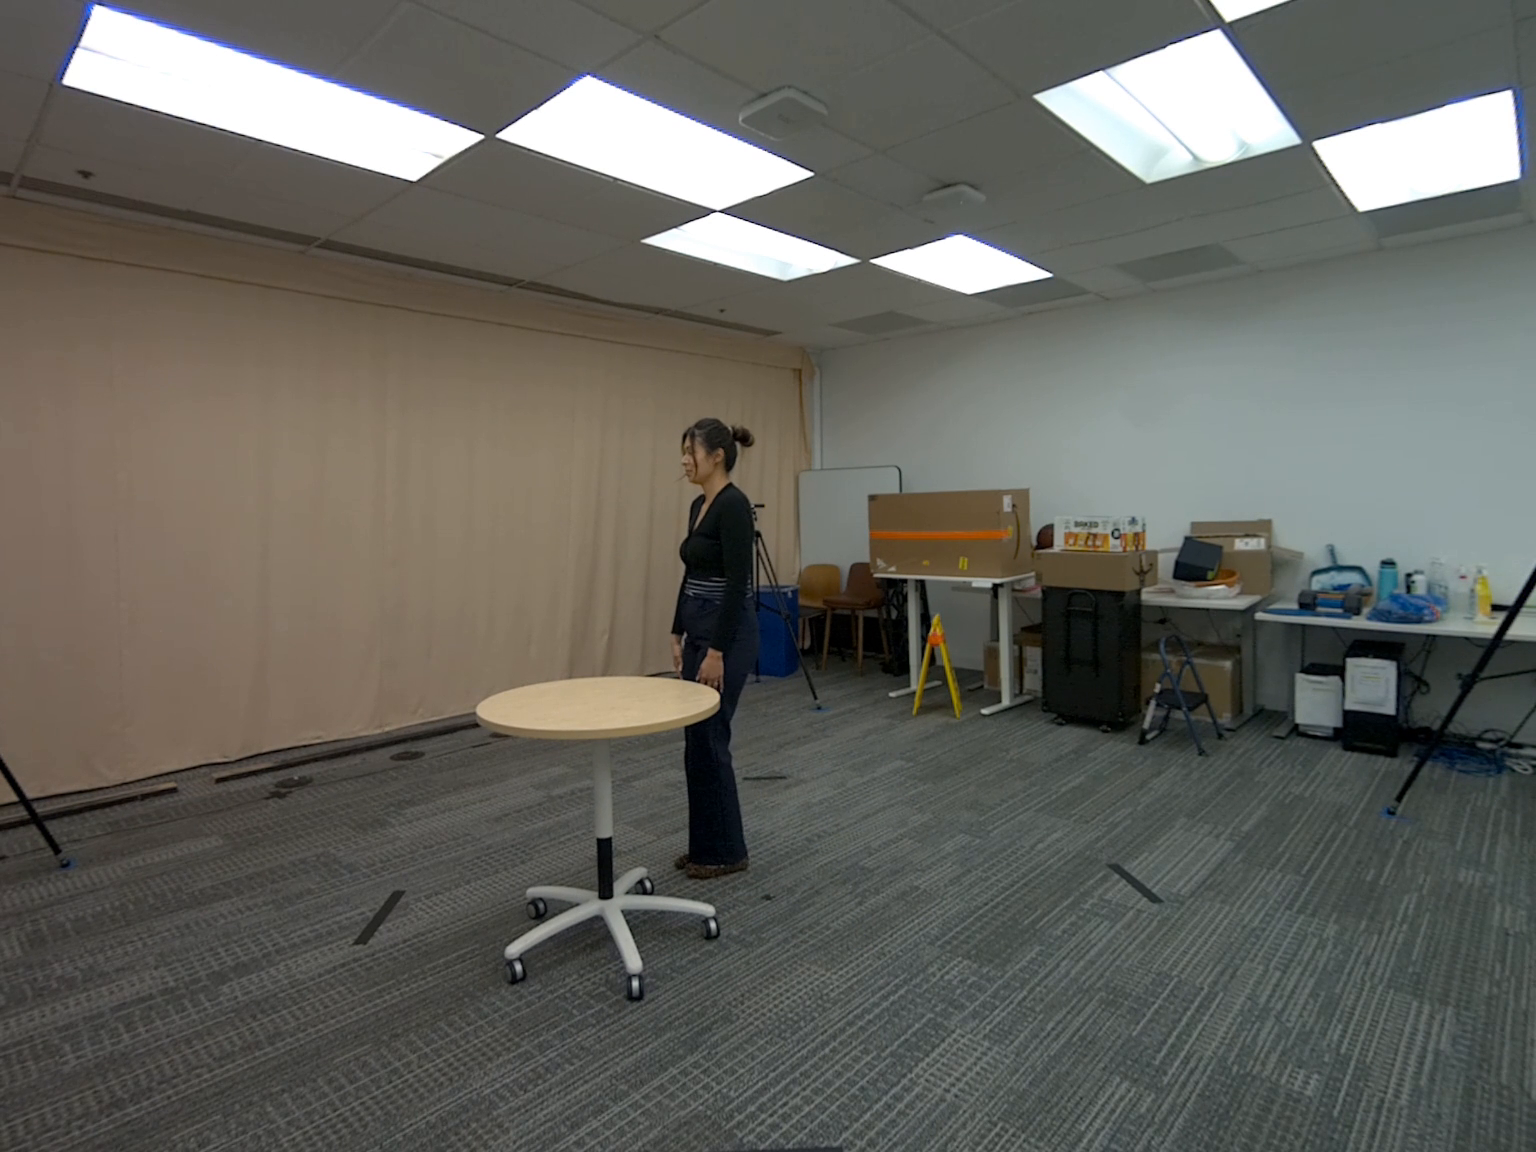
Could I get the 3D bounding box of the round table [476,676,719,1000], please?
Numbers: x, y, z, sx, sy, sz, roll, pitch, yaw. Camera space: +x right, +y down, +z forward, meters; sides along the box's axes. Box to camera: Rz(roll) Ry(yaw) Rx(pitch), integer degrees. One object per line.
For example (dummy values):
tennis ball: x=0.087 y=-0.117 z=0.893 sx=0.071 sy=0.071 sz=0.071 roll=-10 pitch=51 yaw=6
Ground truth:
round table: x=-0.522 y=0.788 z=2.694 sx=0.763 sy=0.792 sz=0.766 roll=-2 pitch=3 yaw=-2
